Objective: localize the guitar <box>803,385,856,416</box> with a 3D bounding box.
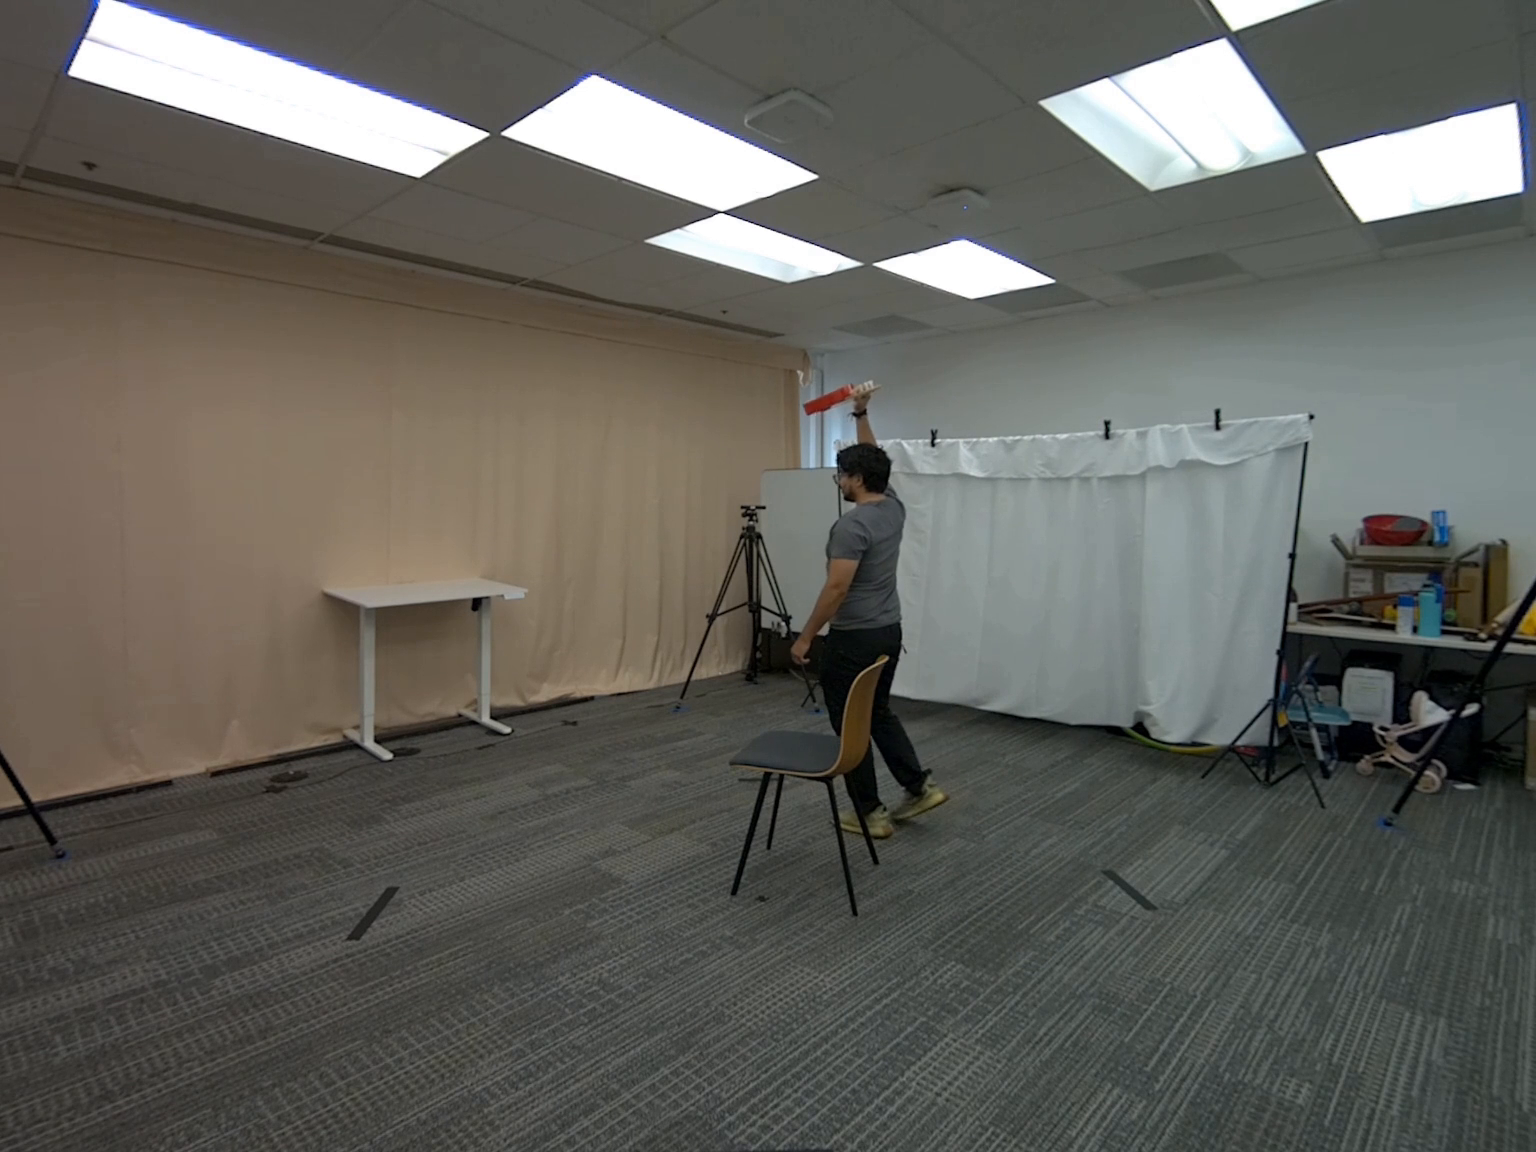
[{"bbox_3d":[0.365,-0.821,3.774,0.189,0.070,0.511,-29,12,-32],"label":"guitar"}]
